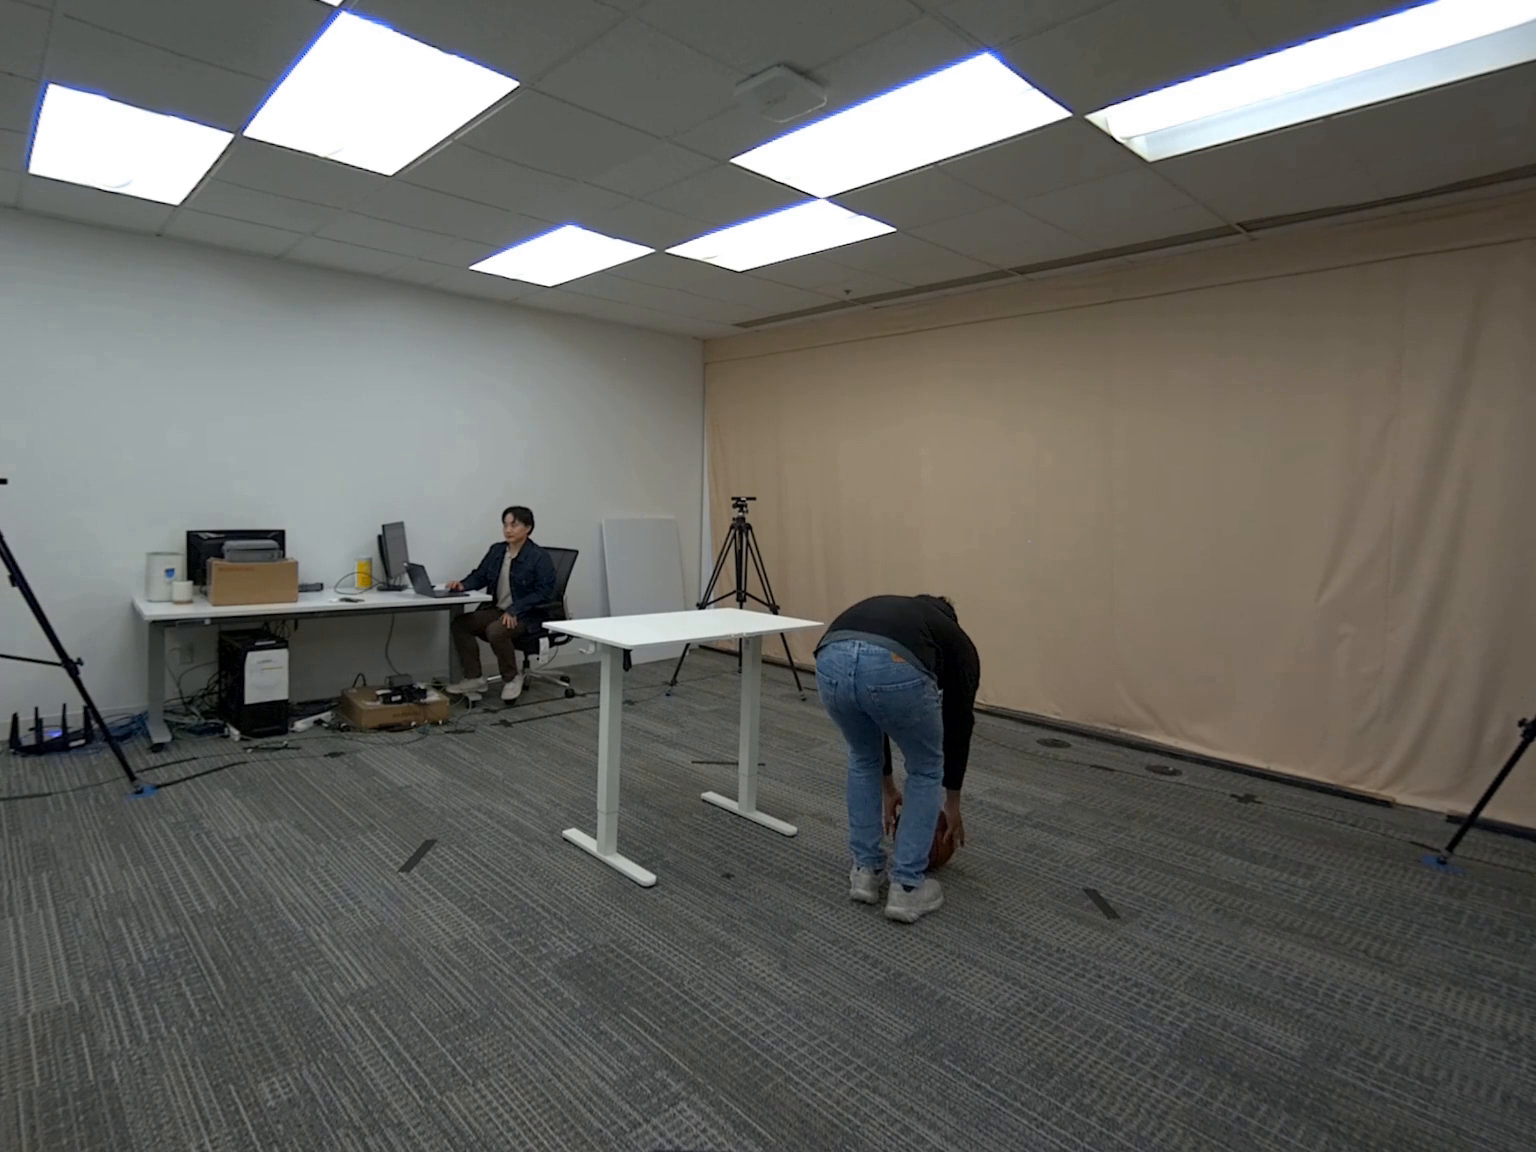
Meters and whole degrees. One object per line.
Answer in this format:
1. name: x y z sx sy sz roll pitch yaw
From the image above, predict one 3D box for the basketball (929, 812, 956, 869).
1. basketball: 0.598 0.985 3.224 0.236 0.235 0.237 1 4 -1
